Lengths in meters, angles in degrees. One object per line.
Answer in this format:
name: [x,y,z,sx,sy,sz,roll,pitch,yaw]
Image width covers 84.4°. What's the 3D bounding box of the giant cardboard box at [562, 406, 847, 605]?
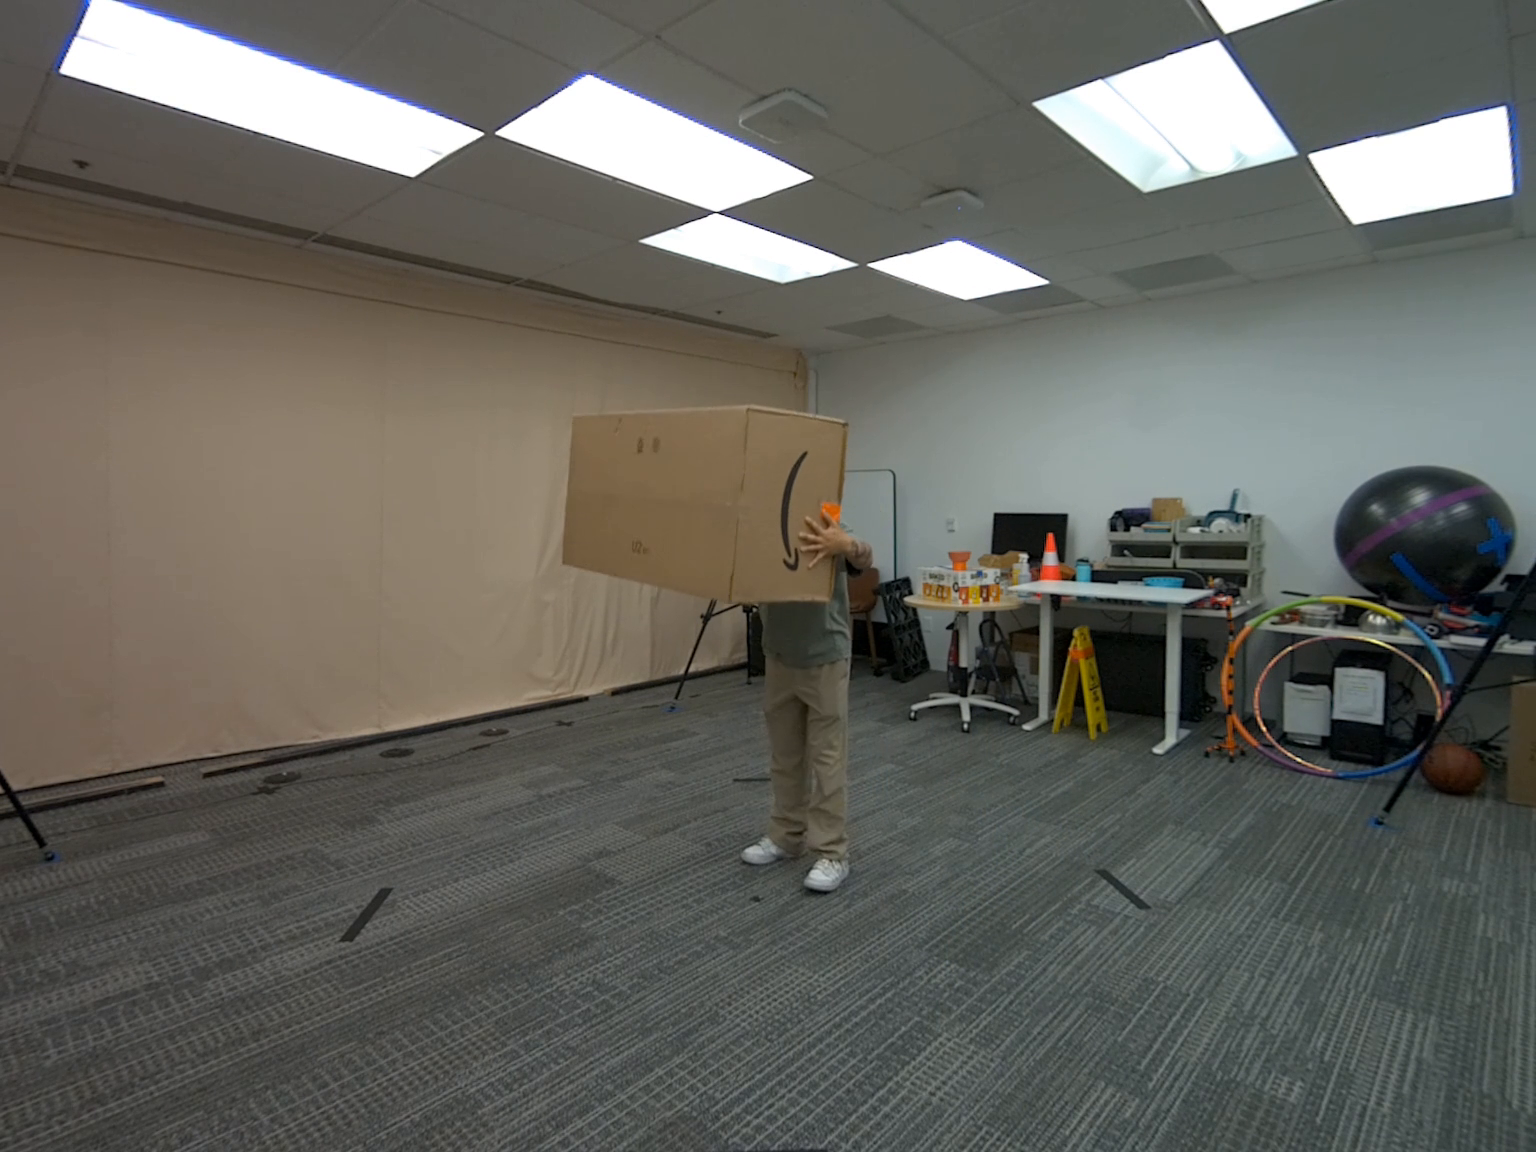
giant cardboard box: [-0.262,-0.256,2.936,0.412,0.576,1.061,3,5,-40]
